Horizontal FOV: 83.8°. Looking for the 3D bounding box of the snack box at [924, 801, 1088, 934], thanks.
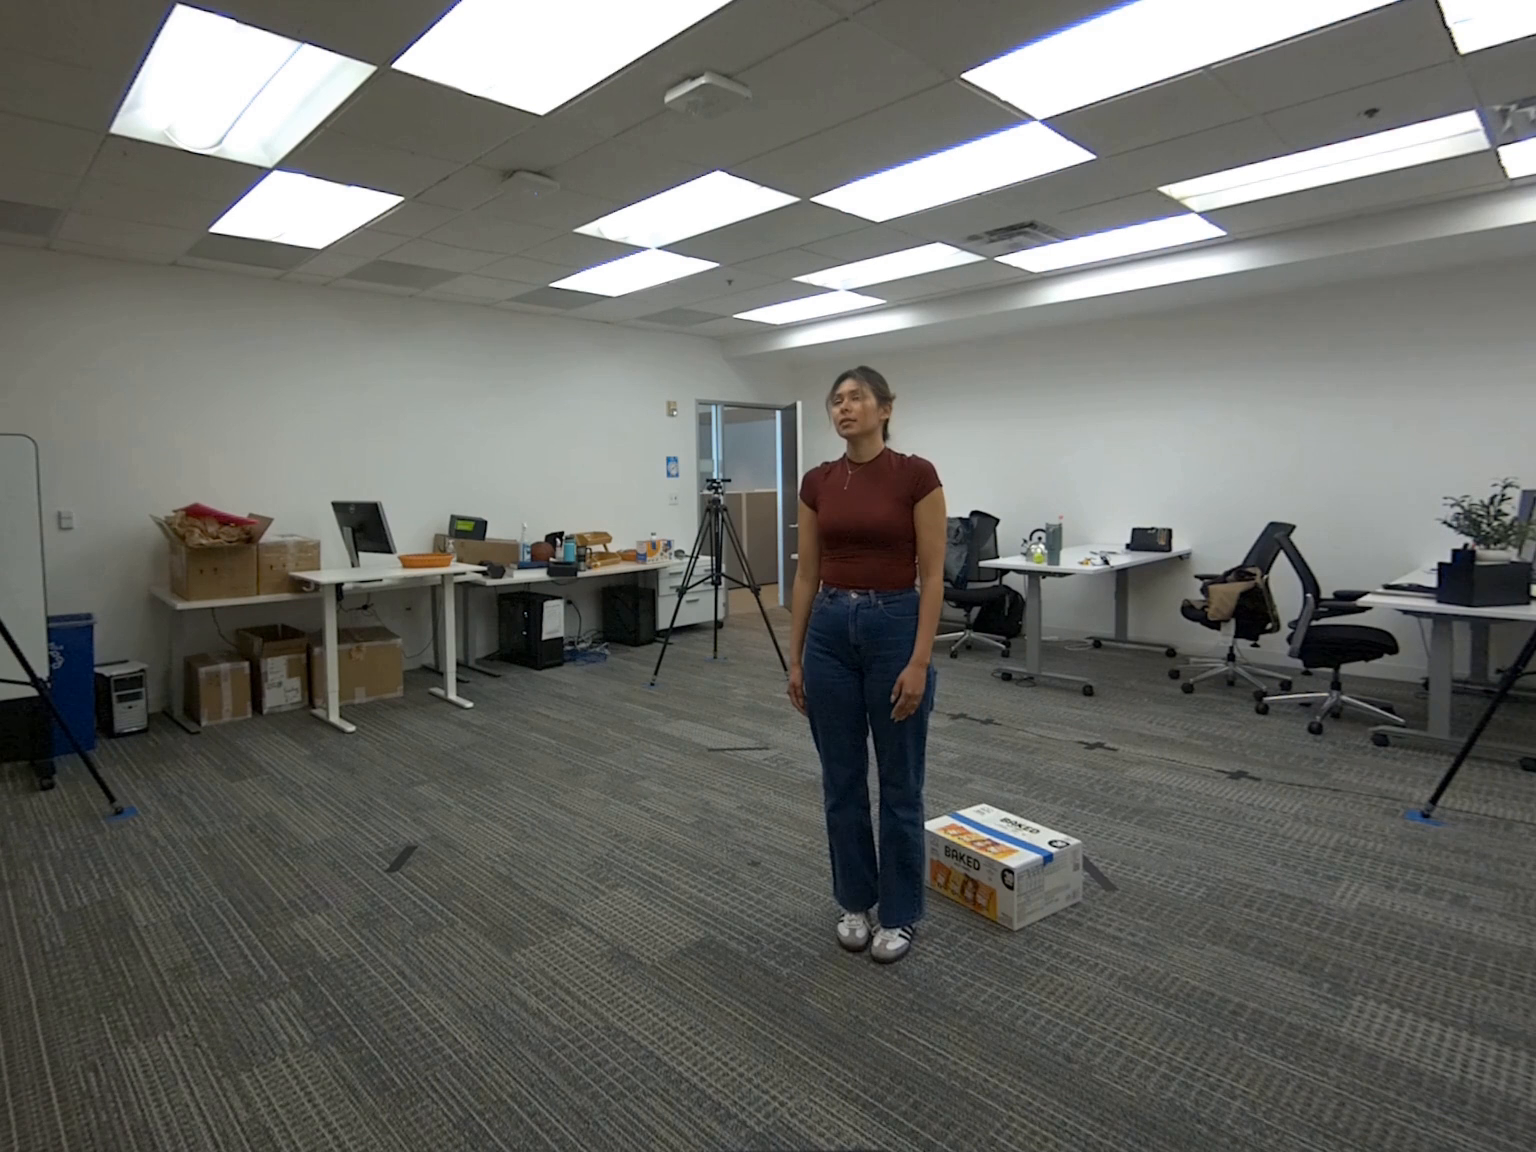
[{"bbox_3d":[0.775,0.948,2.847,0.332,0.205,0.417,-5,7,-35],"label":"snack box"}]
